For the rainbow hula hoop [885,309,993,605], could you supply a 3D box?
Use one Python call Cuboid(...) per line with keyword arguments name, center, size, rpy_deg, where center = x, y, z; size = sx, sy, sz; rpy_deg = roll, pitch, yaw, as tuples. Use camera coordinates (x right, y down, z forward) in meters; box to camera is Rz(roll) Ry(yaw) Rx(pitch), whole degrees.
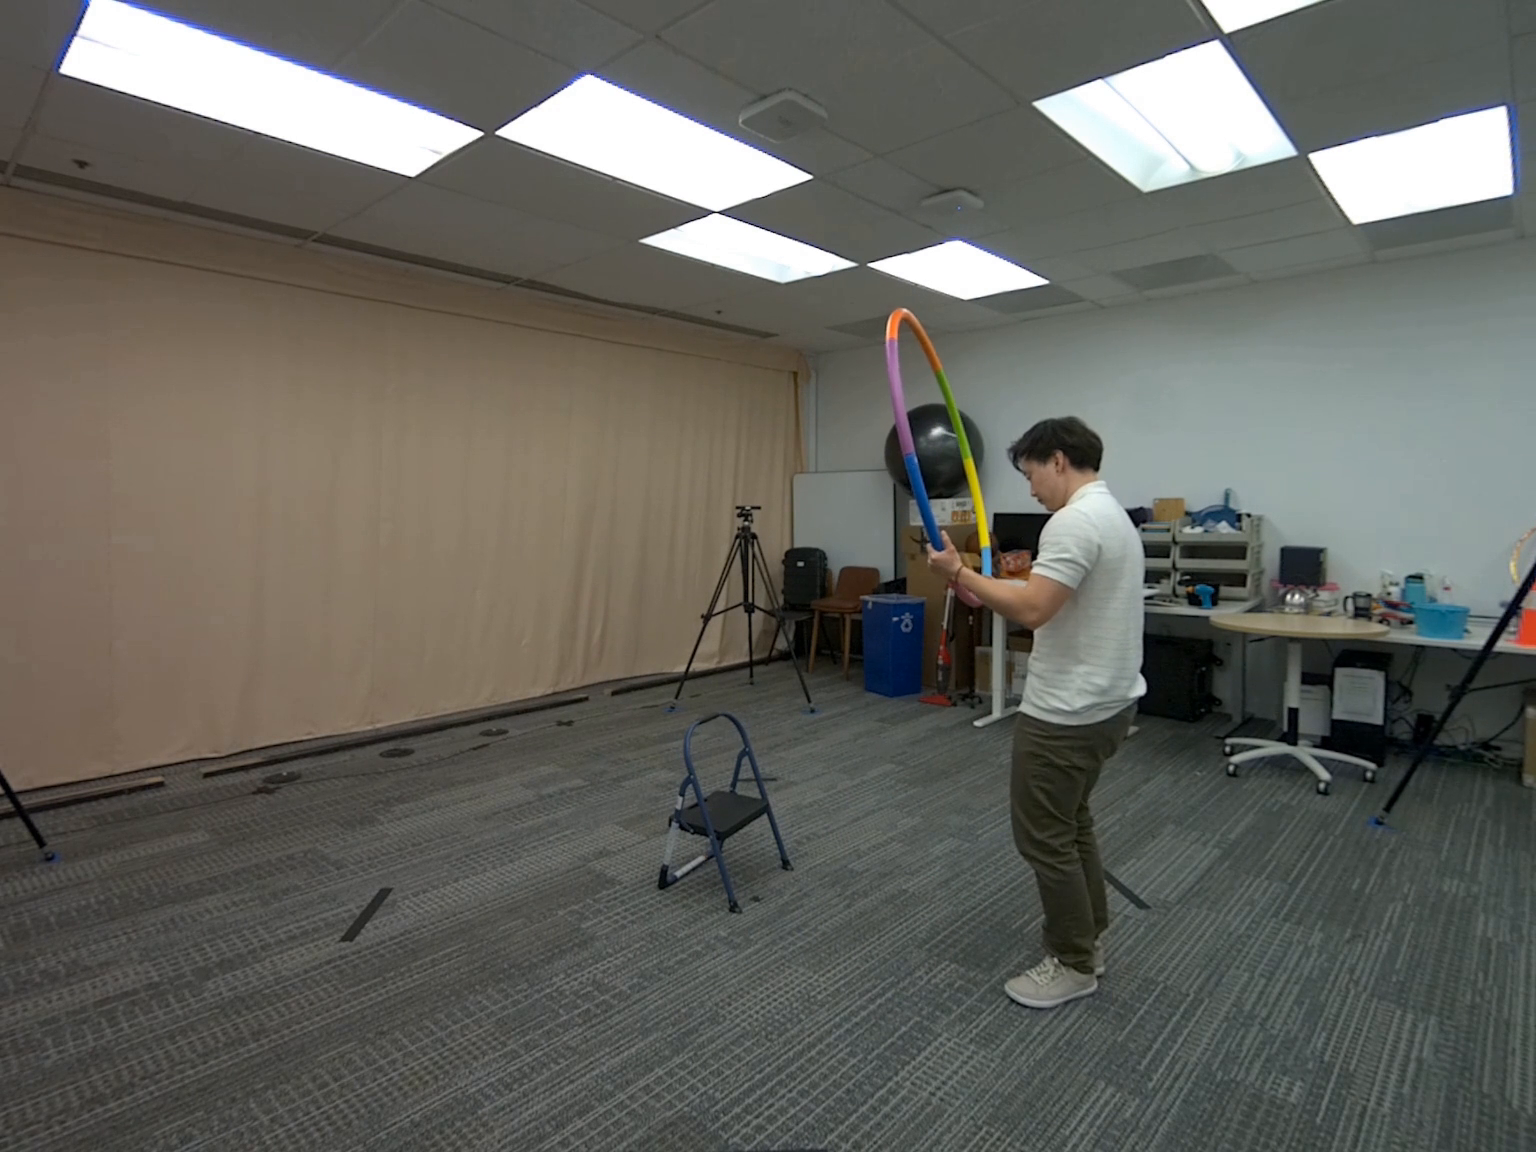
Cuboid(name="rainbow hula hoop", center=(0.581, -0.381, 2.724), size=(0.036, 0.982, 0.956), rpy_deg=(-16, -4, 24))
